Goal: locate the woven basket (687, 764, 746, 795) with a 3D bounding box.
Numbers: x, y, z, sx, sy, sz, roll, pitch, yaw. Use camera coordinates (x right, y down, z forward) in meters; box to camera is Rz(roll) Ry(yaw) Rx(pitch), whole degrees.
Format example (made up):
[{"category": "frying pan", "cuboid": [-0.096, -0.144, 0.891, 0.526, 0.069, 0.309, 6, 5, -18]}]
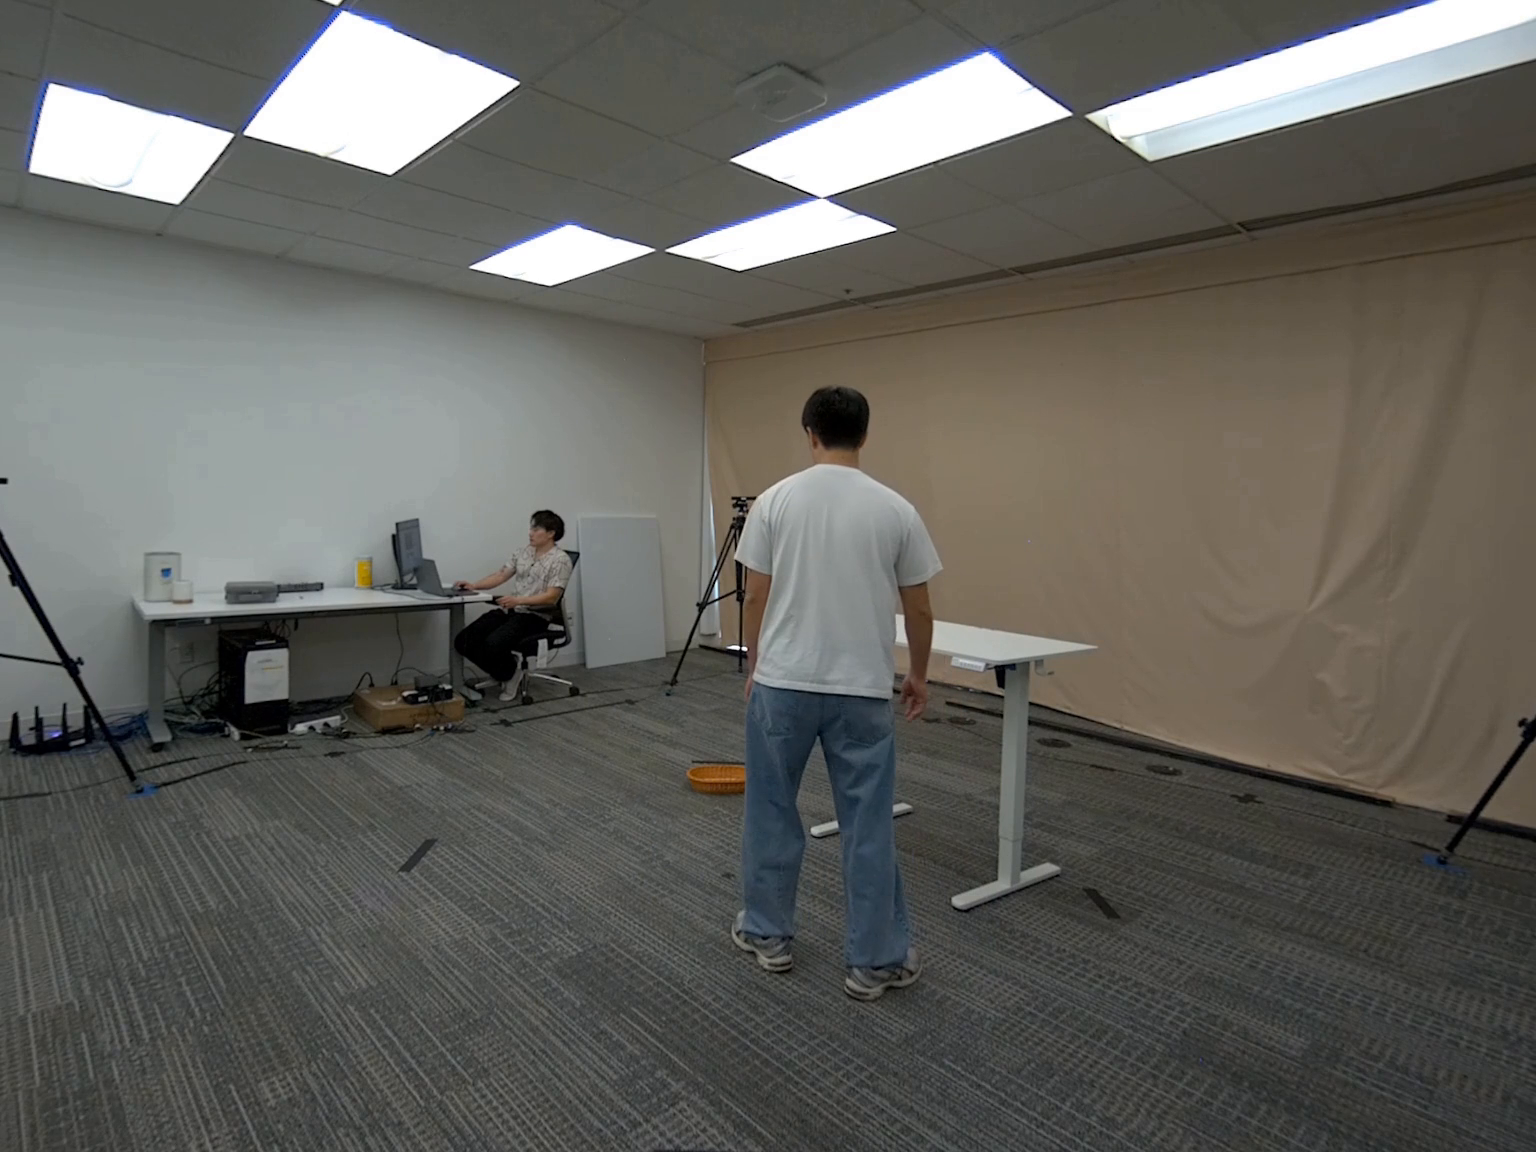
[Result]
[{"category": "woven basket", "cuboid": [-0.231, 0.984, 4.067, 0.349, 0.073, 0.254, 1, 4, -4]}]
